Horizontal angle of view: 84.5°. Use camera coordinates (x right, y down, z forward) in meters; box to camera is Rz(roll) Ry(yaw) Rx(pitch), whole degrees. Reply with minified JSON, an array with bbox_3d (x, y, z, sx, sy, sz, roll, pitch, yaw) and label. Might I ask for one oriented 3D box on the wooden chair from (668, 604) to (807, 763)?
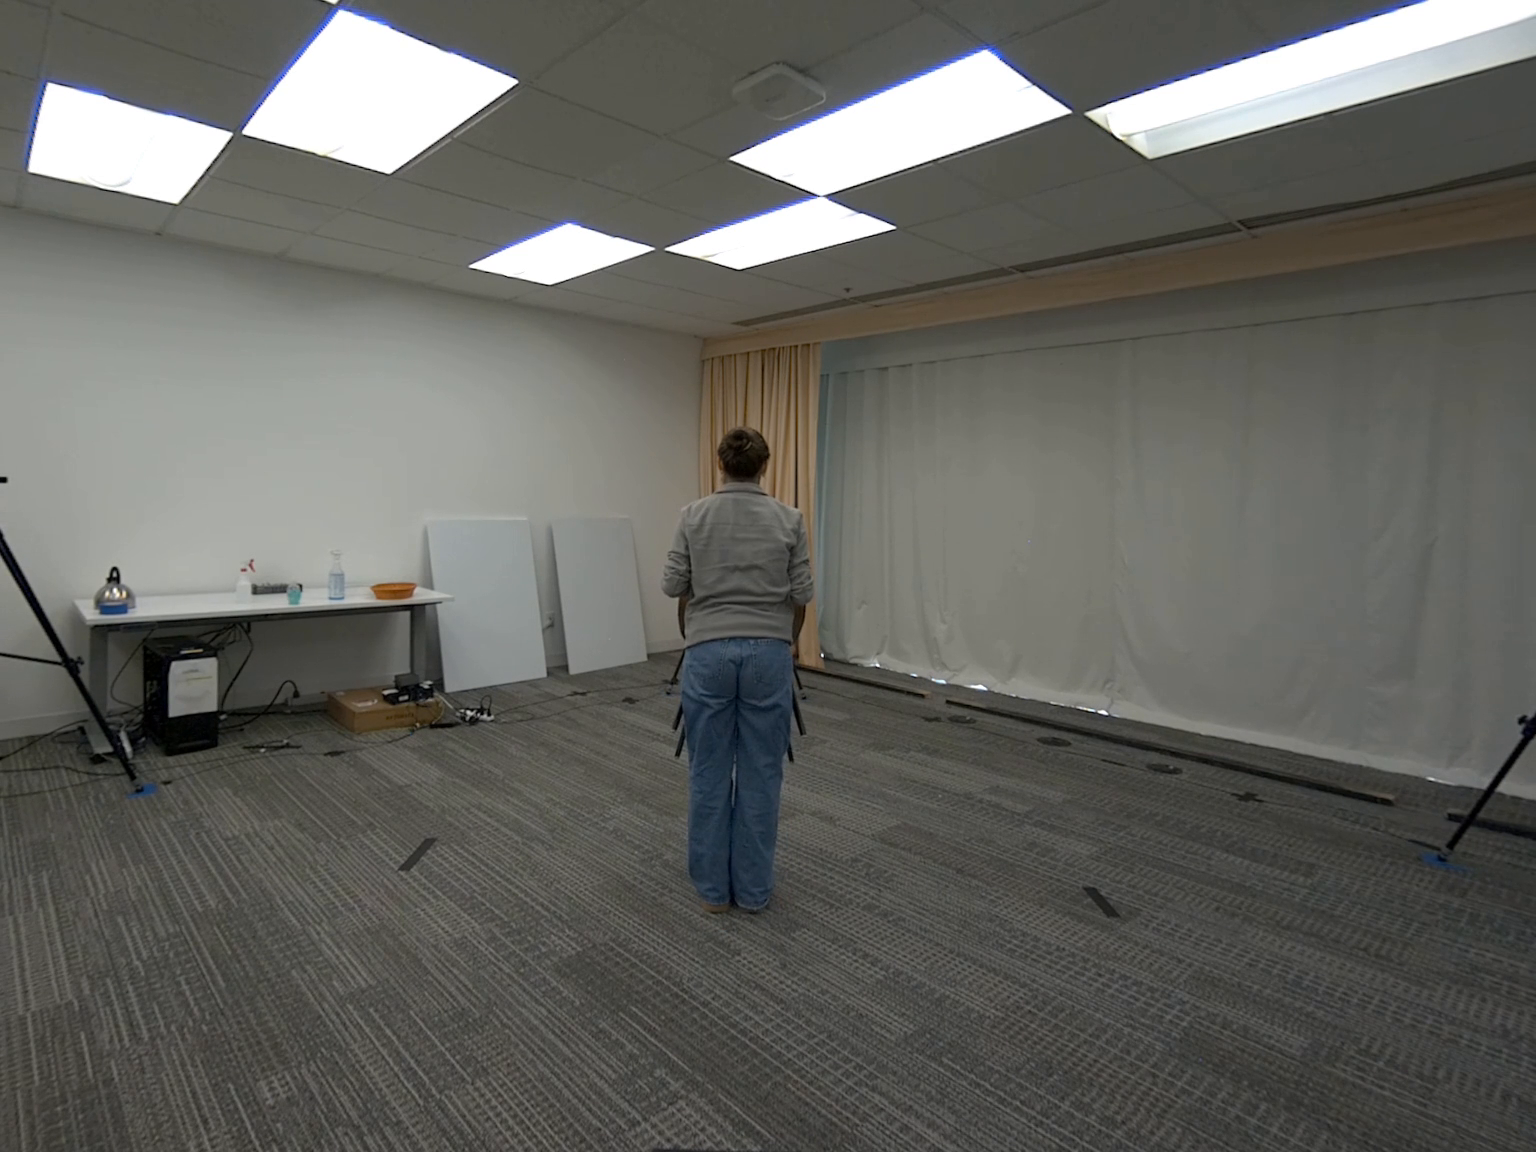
[{"bbox_3d":[-0.112,0.231,3.178,0.478,0.890,0.516,1,-20,-1],"label":"wooden chair"}]
